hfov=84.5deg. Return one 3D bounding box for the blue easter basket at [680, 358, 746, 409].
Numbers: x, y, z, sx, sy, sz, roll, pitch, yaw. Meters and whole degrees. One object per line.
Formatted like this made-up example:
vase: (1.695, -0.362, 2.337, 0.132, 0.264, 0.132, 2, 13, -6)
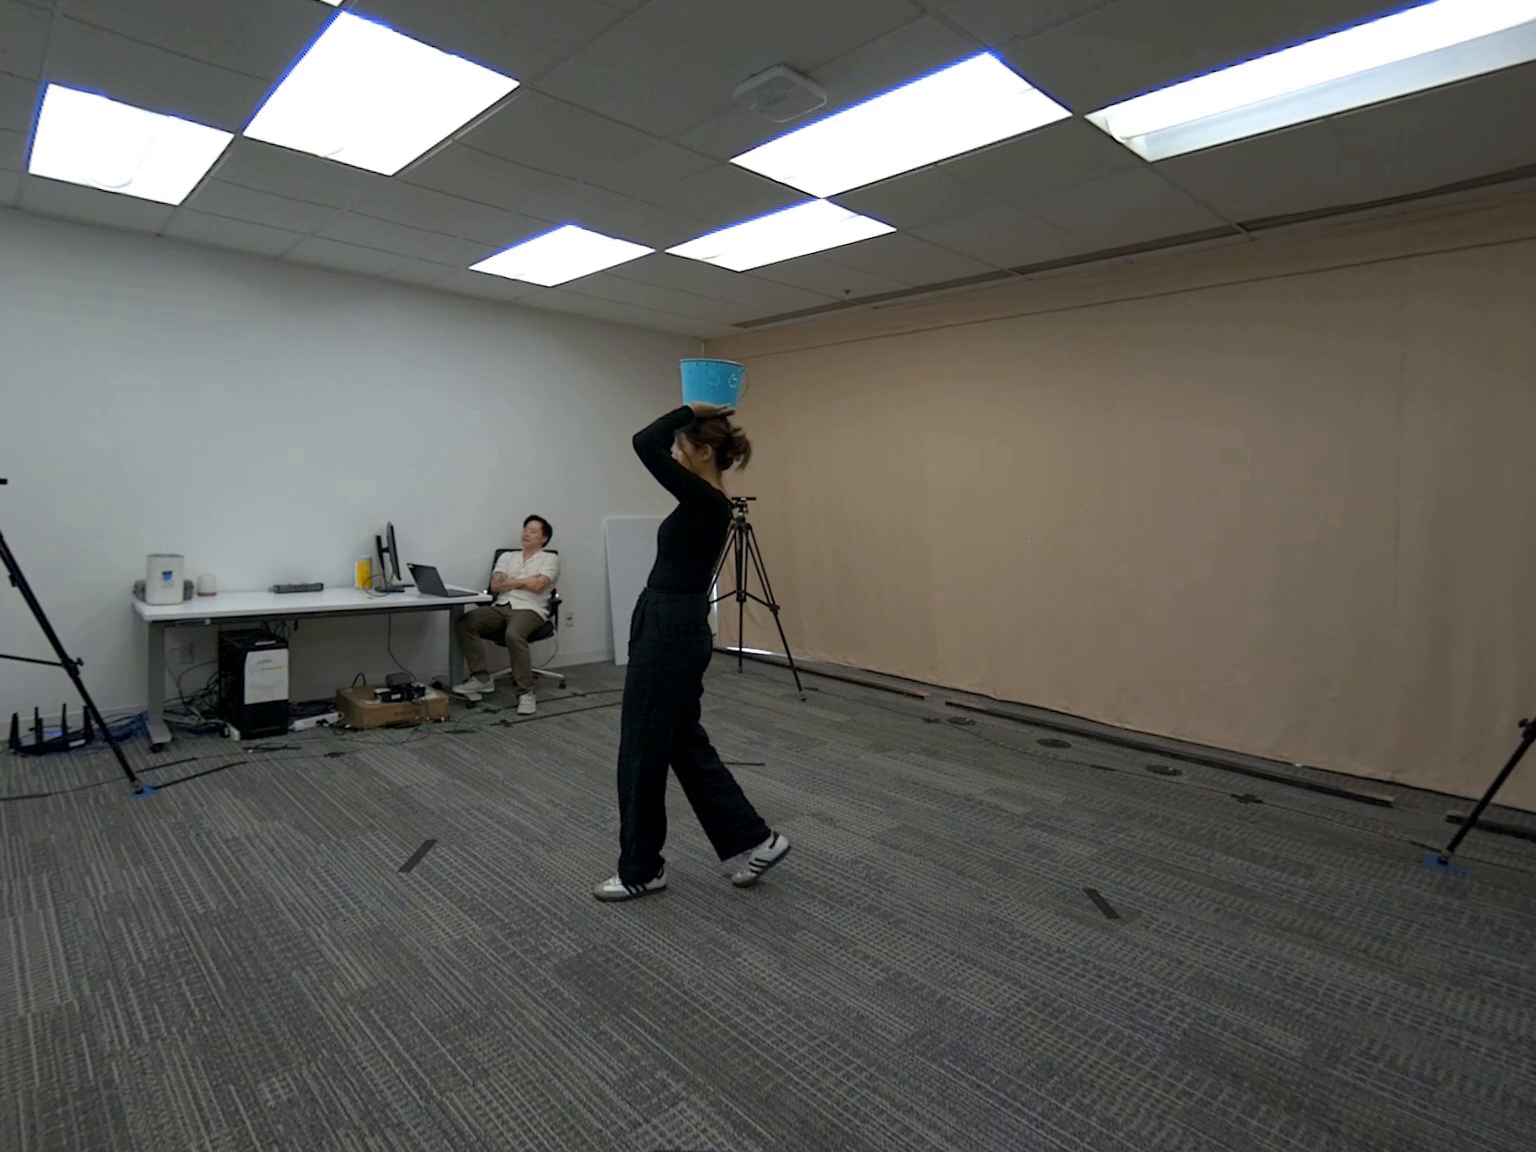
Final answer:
blue easter basket: (-0.195, -0.648, 2.898, 0.243, 0.155, 0.245, 4, 6, -2)
